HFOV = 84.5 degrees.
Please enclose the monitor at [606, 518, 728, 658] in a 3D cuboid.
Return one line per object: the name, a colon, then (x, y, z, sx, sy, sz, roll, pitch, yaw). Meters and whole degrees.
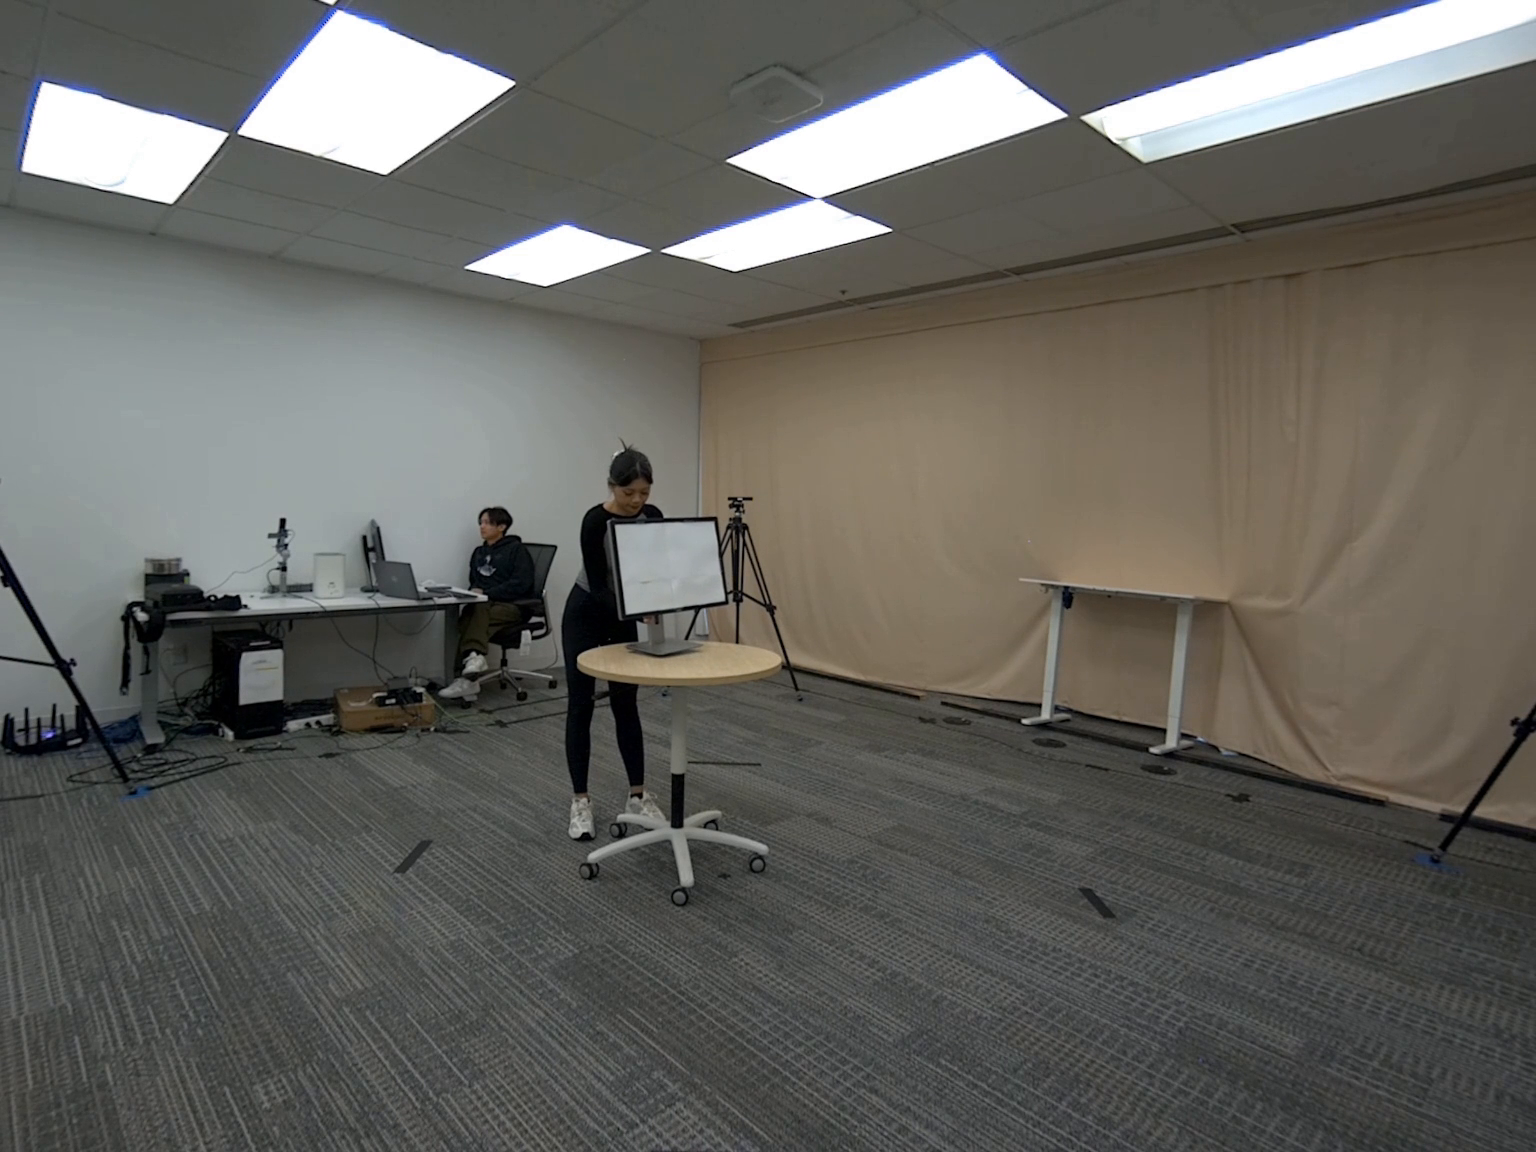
monitor: (-0.406, 0.037, 3.261, 0.179, 0.513, 0.518, 13, 11, 40)
